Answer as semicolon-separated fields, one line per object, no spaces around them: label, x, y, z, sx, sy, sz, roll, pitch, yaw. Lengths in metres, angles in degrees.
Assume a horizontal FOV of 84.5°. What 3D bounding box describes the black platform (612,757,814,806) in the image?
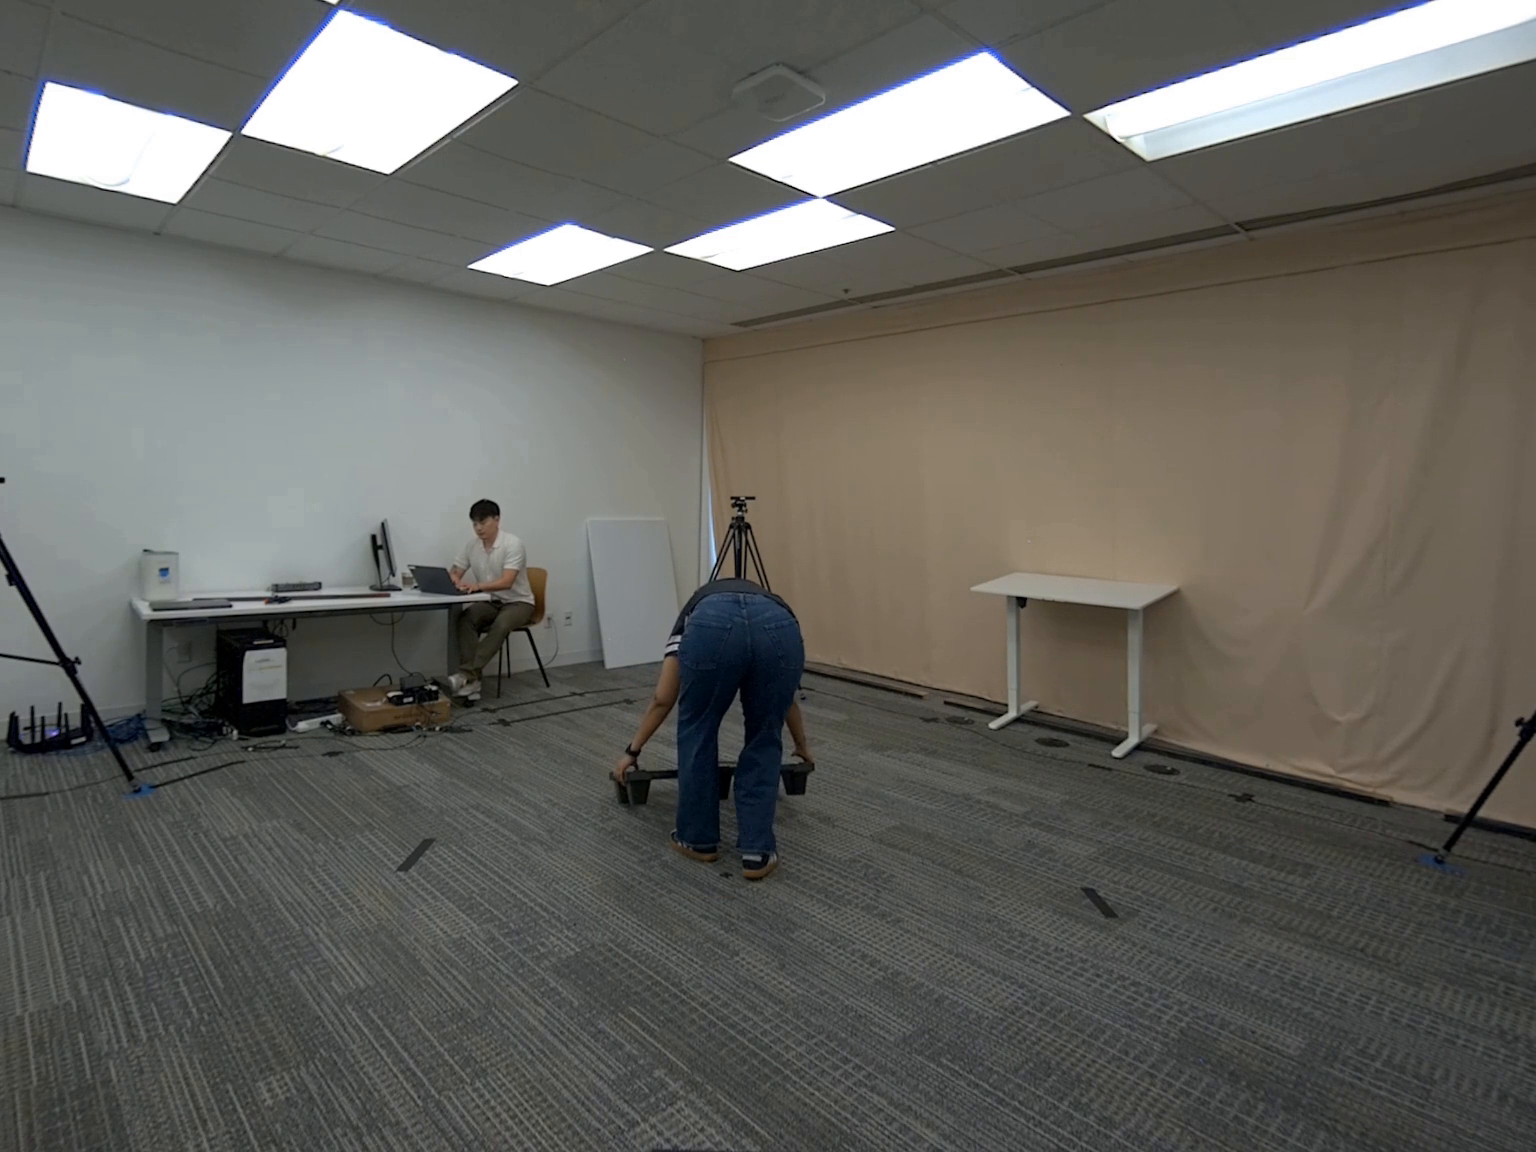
black platform;-0.270;0.909;3.717;0.796;0.145;0.606;0;-13;-16
